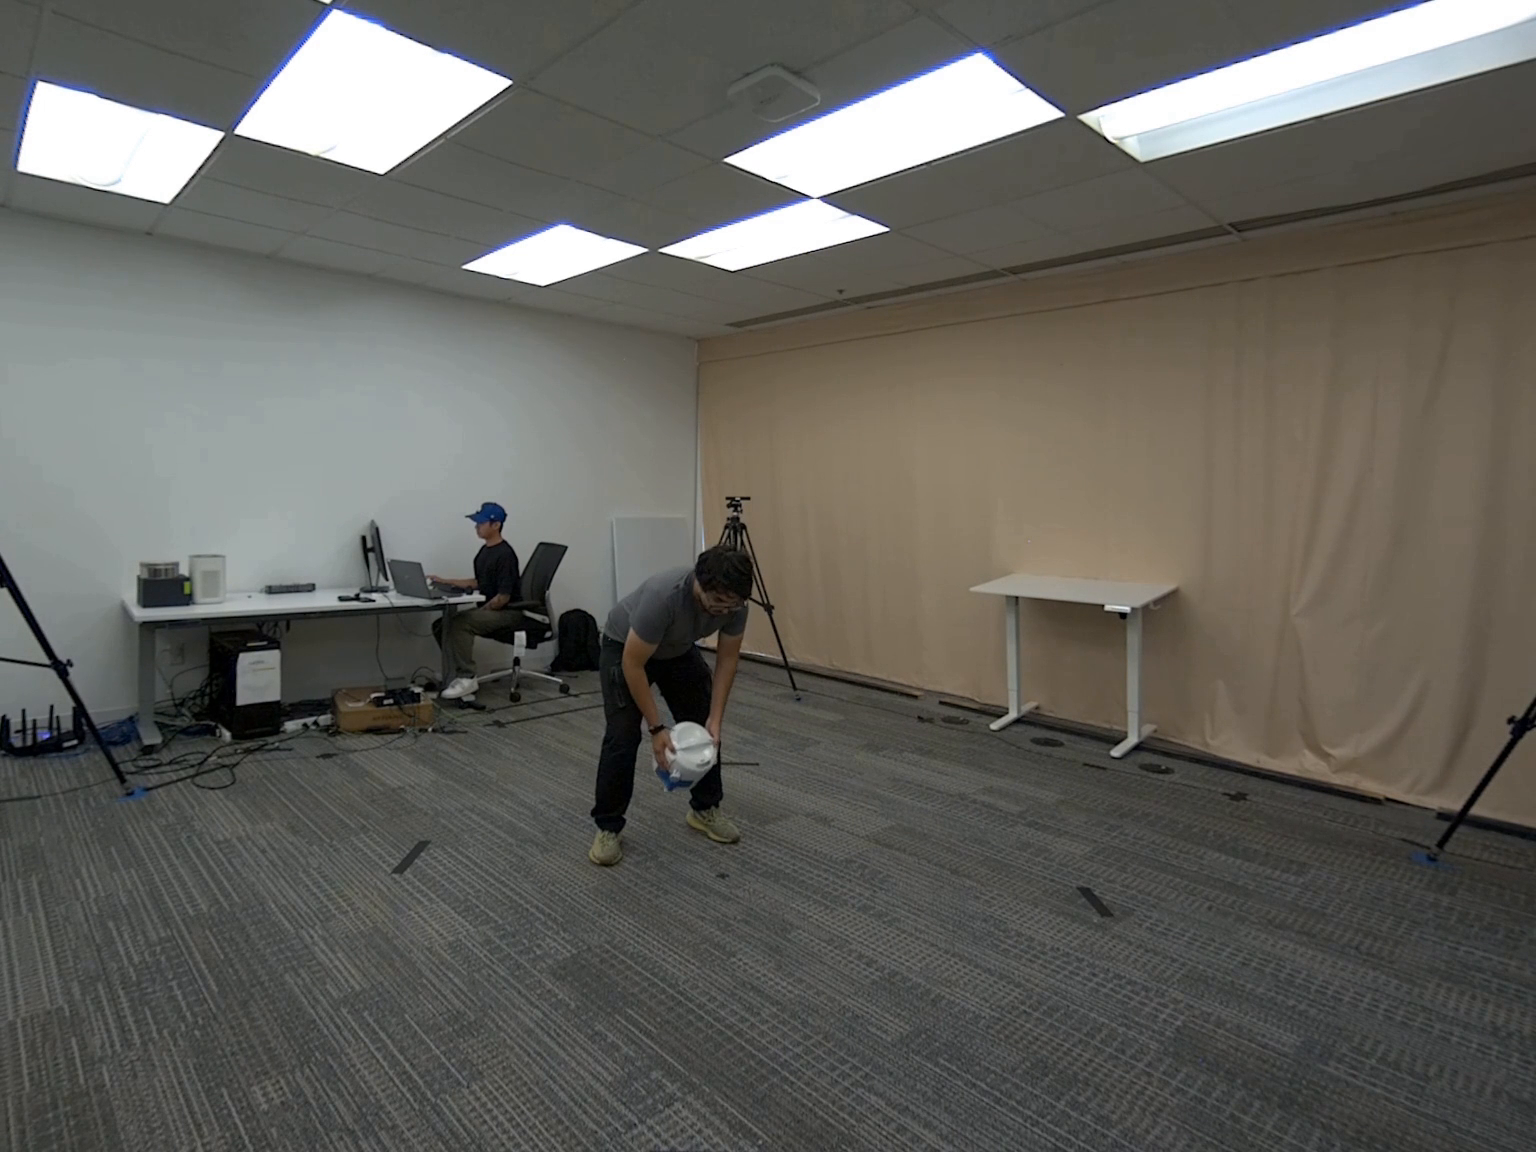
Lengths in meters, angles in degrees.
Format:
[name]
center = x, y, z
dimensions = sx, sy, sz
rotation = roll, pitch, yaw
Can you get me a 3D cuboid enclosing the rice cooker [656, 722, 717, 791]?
[rice cooker]
center = -0.329, 0.685, 3.226
dimensions = 0.216, 0.223, 0.231
rotation = -5, -36, -36
